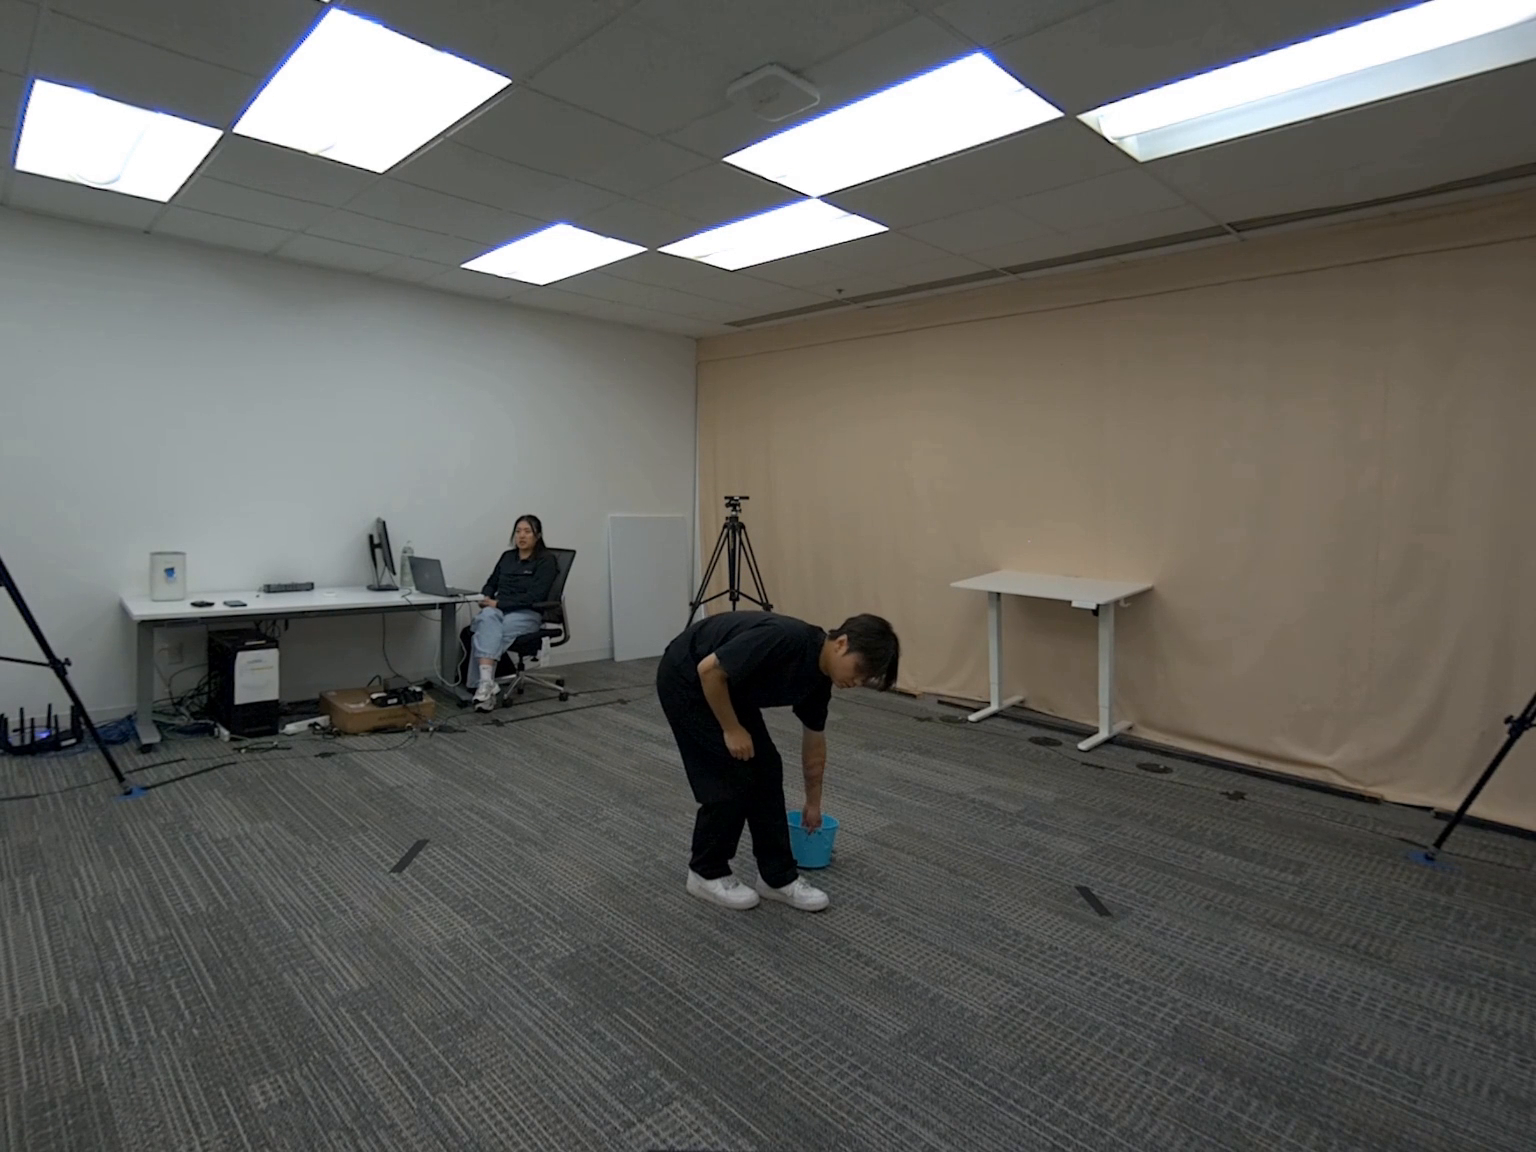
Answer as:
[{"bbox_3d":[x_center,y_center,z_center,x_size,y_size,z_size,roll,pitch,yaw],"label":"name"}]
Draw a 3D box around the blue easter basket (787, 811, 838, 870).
[{"bbox_3d":[0.138,1.012,3.238,0.243,0.156,0.244,4,1,-1],"label":"blue easter basket"}]
